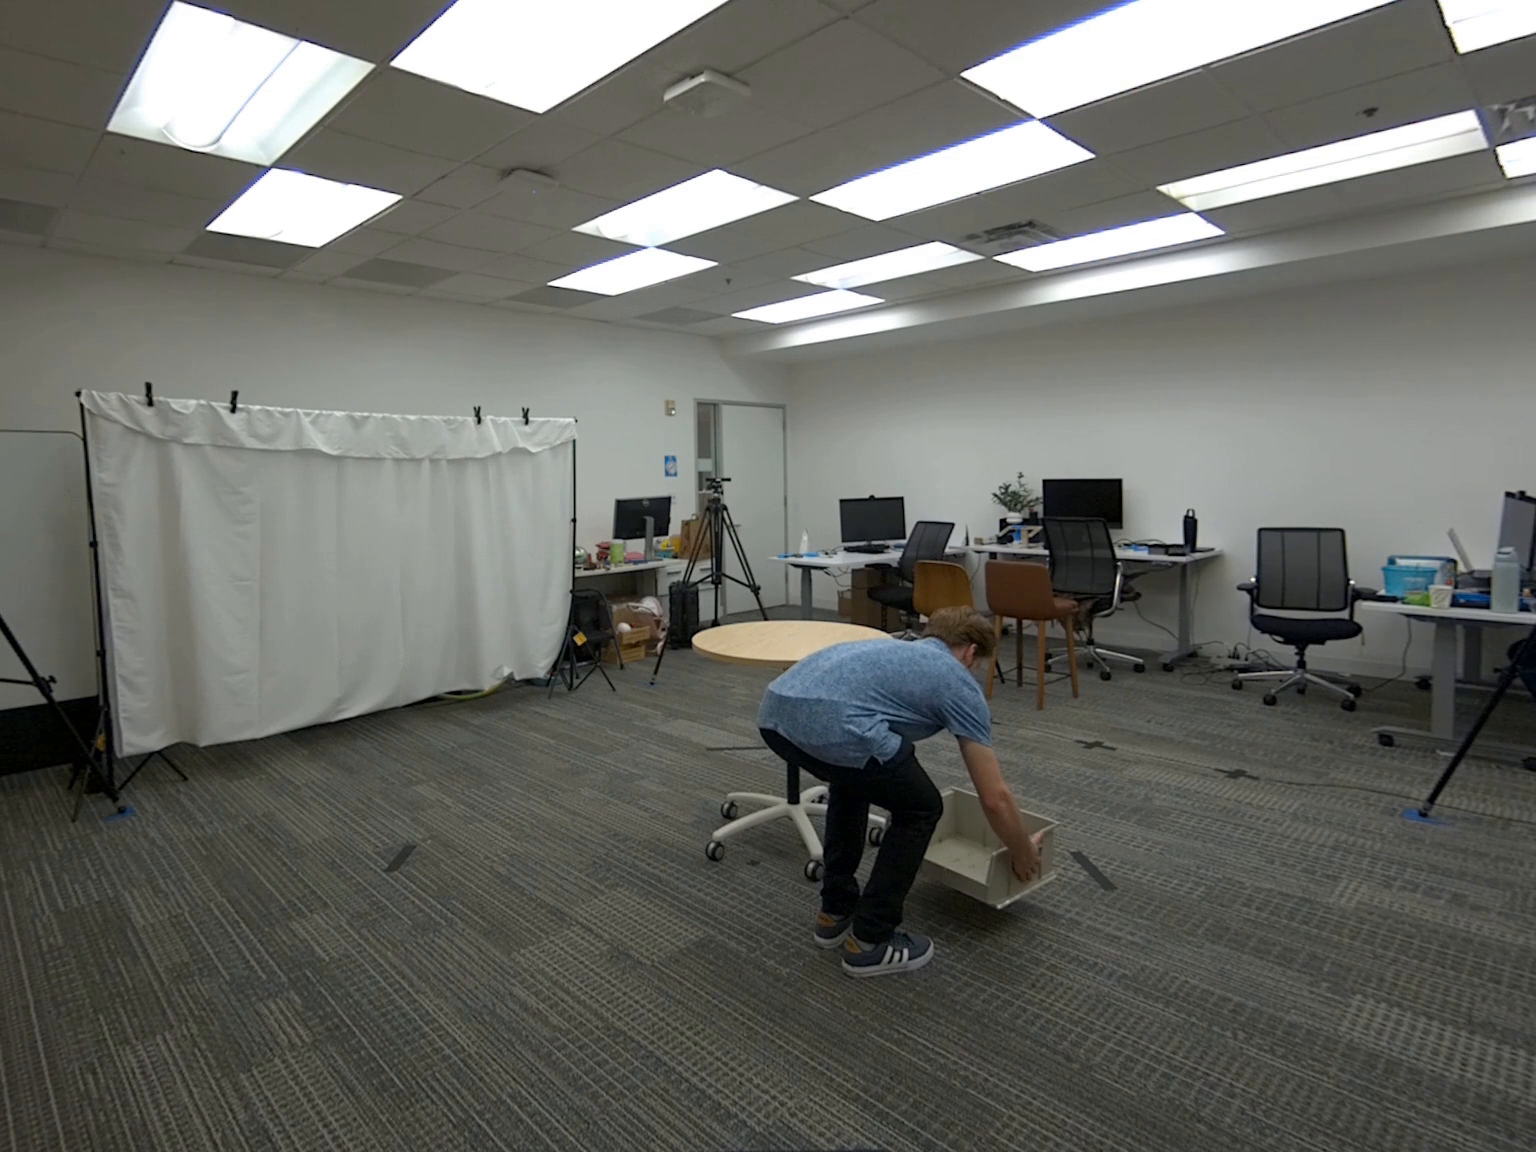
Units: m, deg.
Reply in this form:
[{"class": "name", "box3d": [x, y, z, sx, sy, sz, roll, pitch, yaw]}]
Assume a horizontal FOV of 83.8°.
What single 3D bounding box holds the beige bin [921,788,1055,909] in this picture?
[{"class": "beige bin", "box3d": [0.658, 0.880, 2.779, 0.367, 0.188, 0.435, -6, 8, -39]}]
